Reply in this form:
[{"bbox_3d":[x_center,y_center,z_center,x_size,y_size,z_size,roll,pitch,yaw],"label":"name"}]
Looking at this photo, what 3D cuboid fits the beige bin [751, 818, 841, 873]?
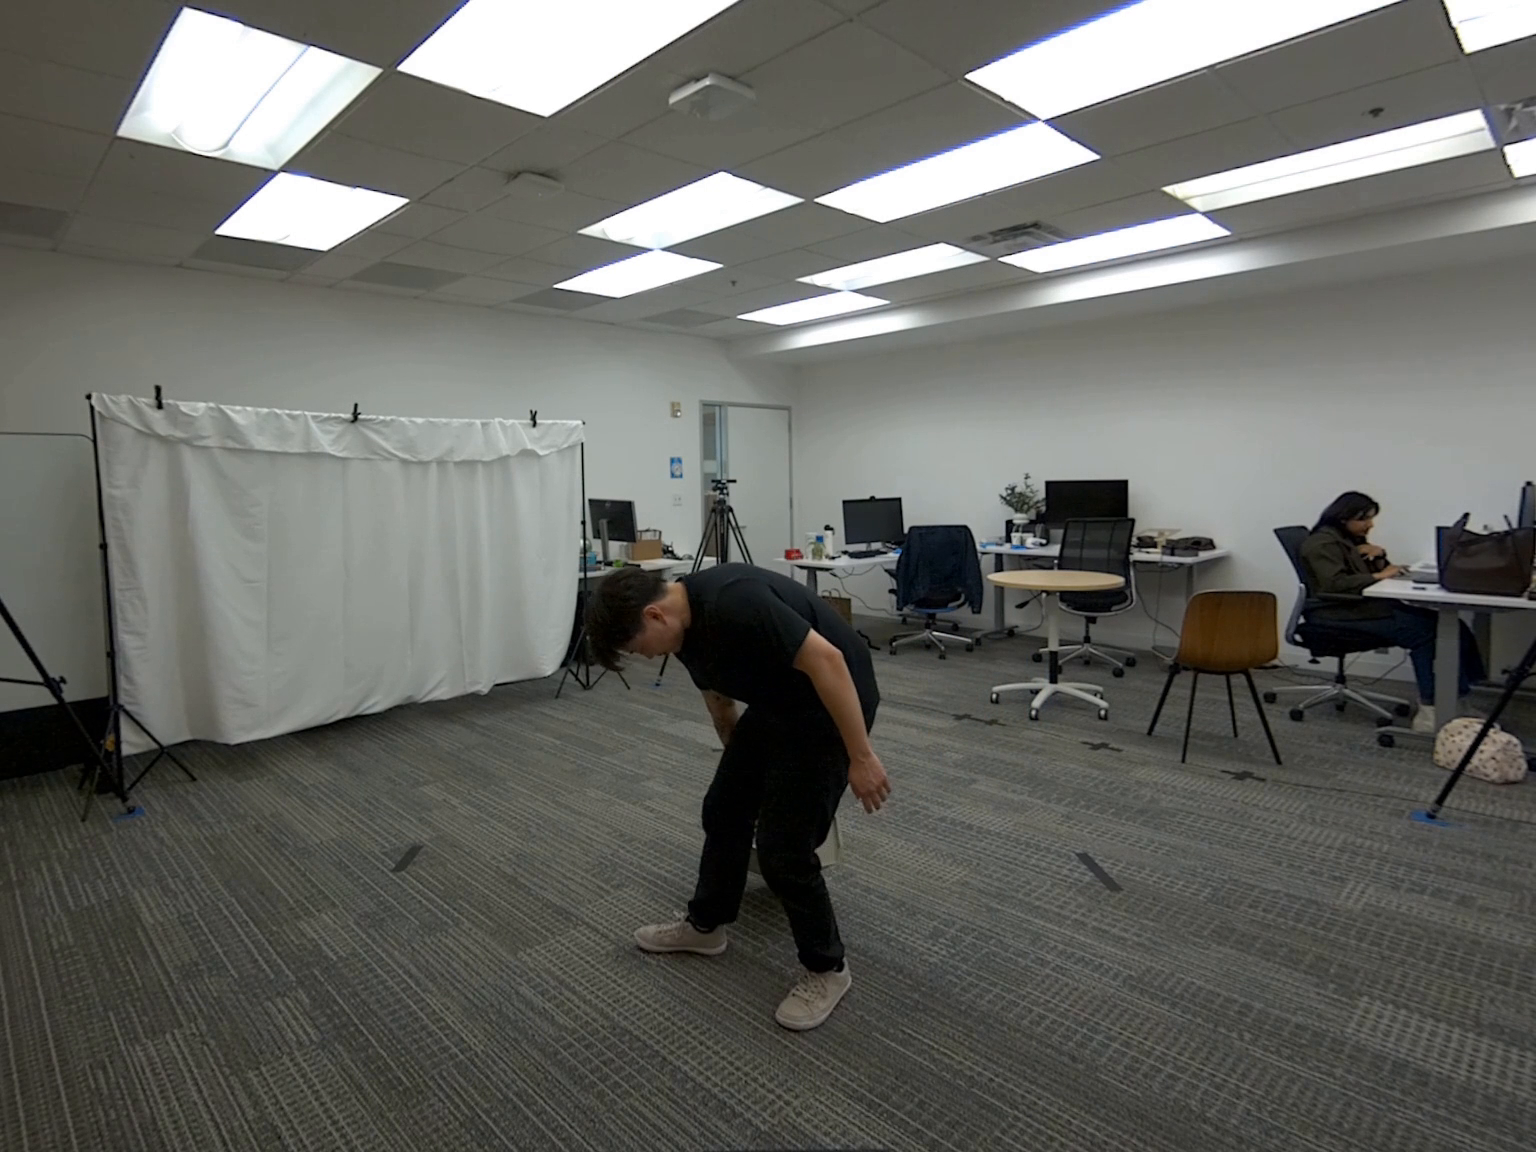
[{"bbox_3d":[0.011,0.862,2.821,0.375,0.192,0.418,18,-27,-5],"label":"beige bin"}]
